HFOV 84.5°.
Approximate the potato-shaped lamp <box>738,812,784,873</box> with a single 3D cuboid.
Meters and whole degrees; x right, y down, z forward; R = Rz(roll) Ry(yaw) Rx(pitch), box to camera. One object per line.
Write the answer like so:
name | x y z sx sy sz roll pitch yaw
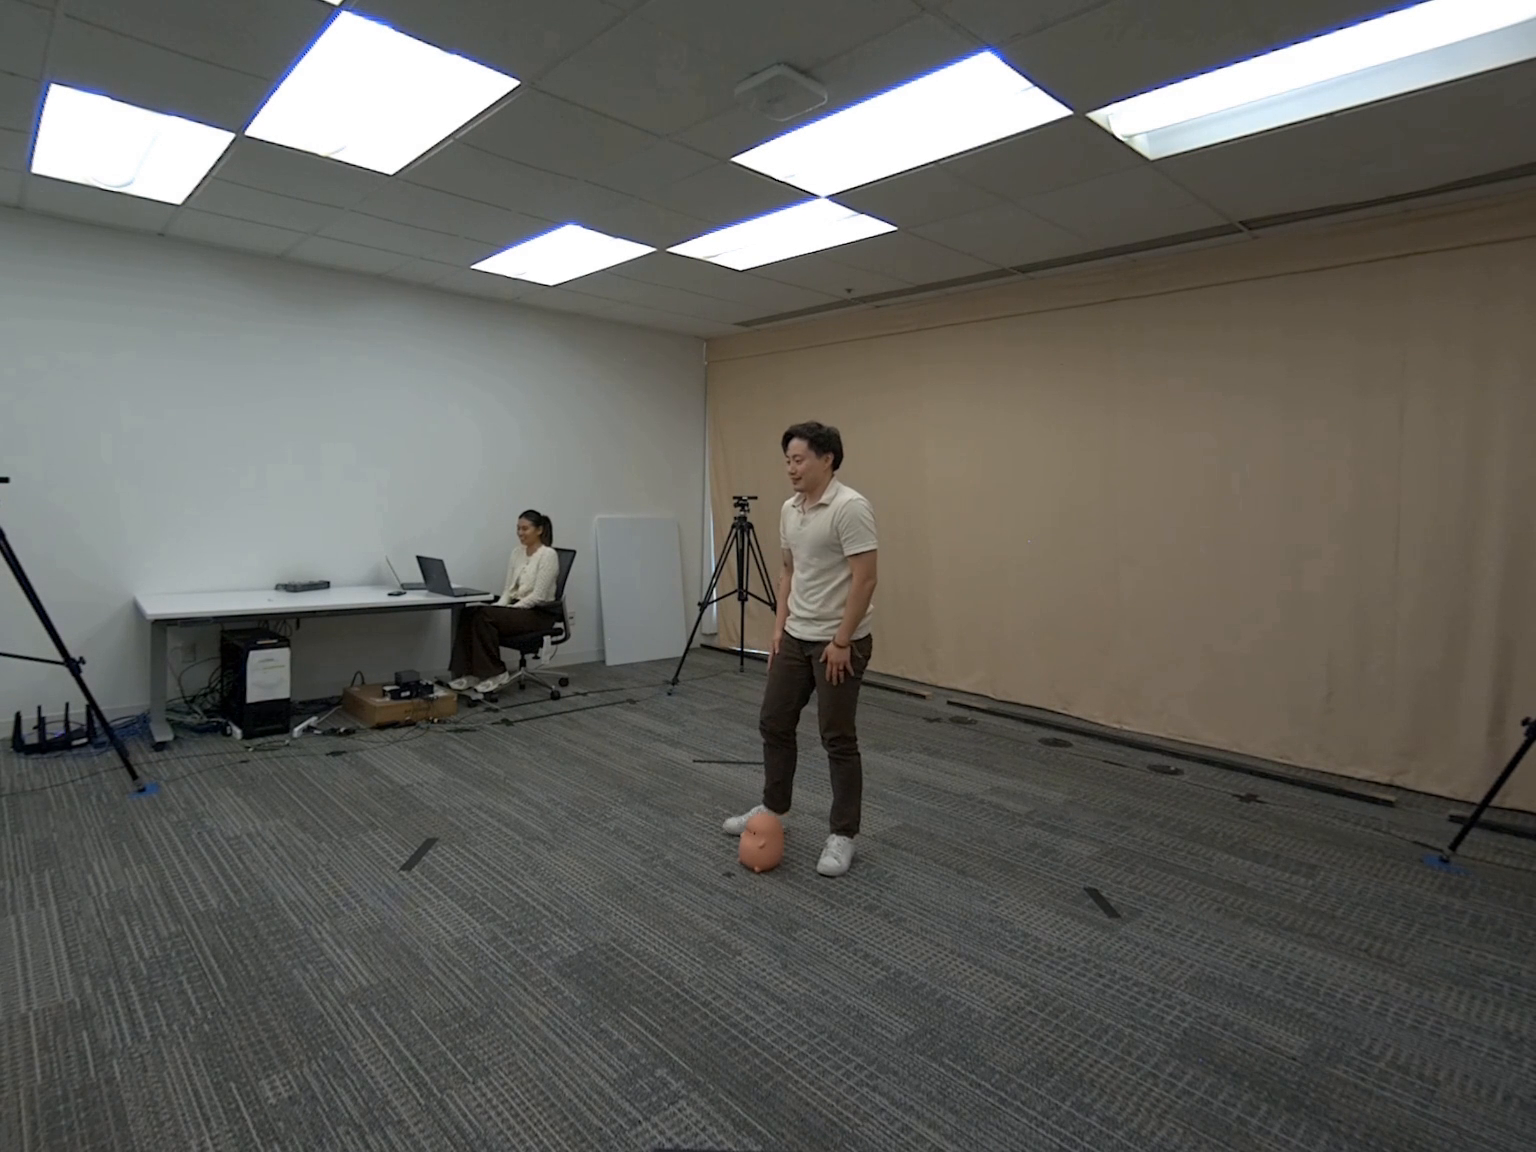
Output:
potato-shaped lamp | -0.037 0.998 3.193 0.167 0.197 0.169 -3 7 -42
